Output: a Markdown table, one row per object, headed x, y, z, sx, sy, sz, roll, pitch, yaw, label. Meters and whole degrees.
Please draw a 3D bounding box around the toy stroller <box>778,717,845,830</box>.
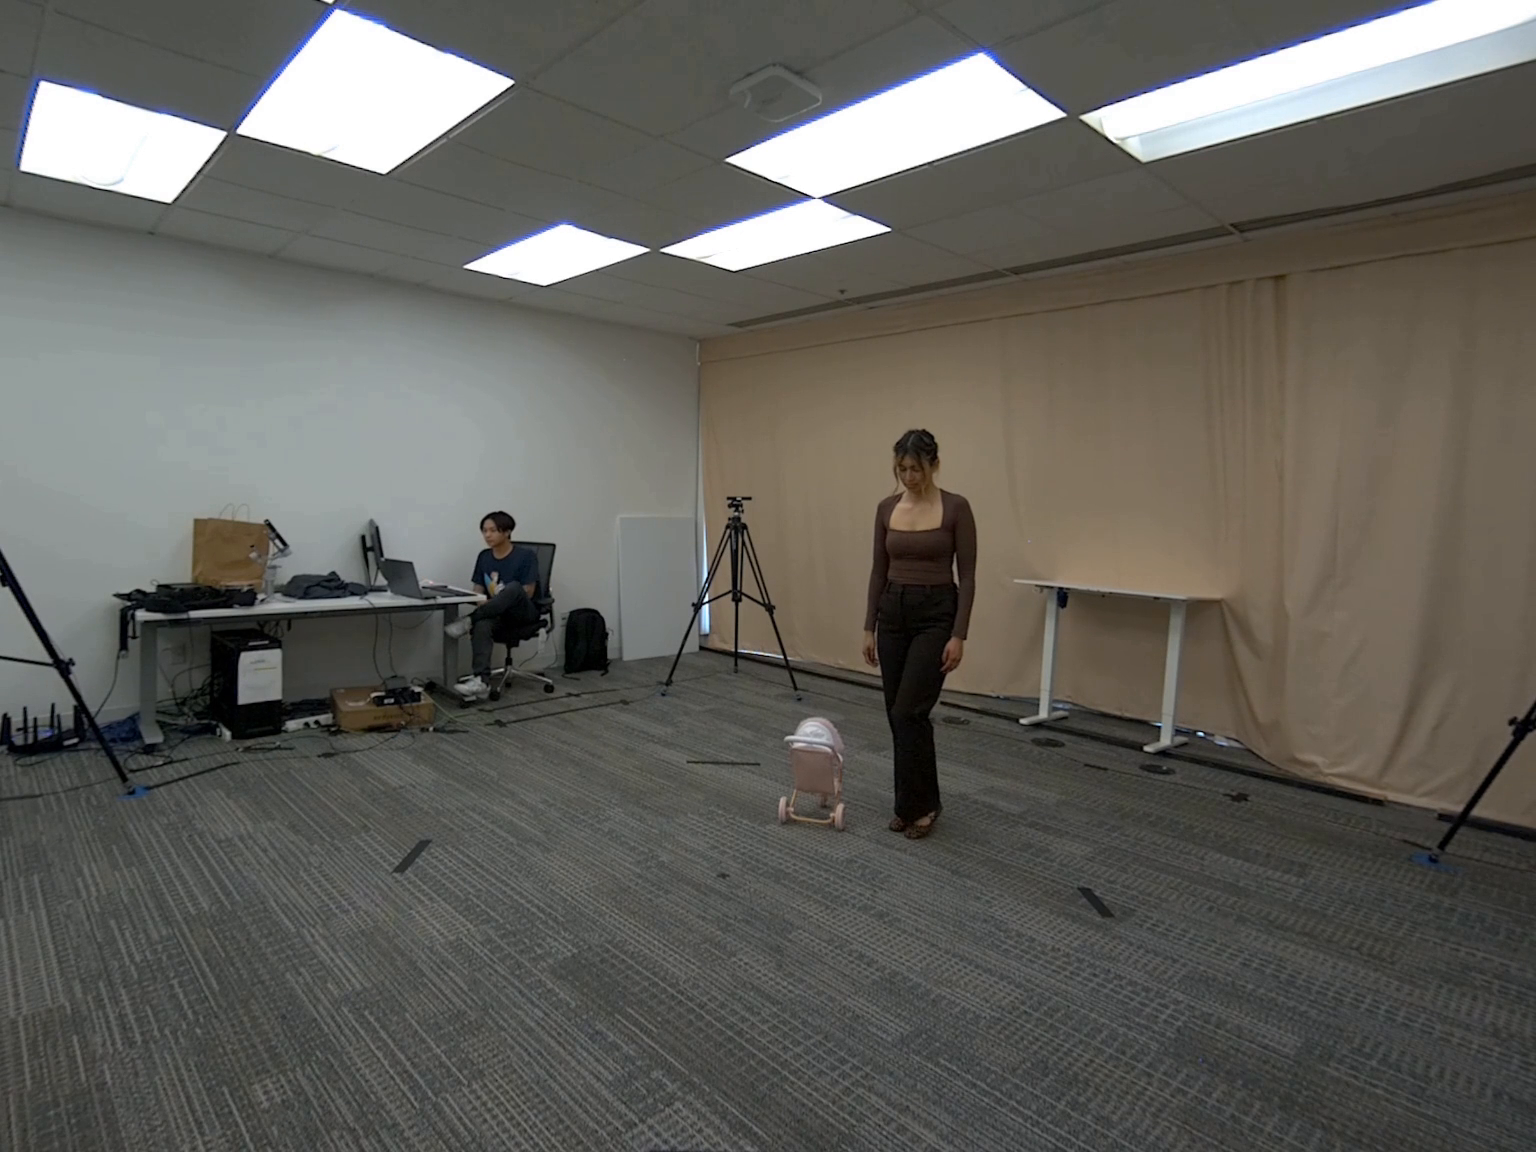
| x | y | z | sx | sy | sz | roll | pitch | yaw | label |
| --- | --- | --- | --- | --- | --- | --- | --- | --- | --- |
| 0.206 | 0.842 | 3.661 | 0.286 | 0.527 | 0.341 | 4 | 21 | 18 | toy stroller |
